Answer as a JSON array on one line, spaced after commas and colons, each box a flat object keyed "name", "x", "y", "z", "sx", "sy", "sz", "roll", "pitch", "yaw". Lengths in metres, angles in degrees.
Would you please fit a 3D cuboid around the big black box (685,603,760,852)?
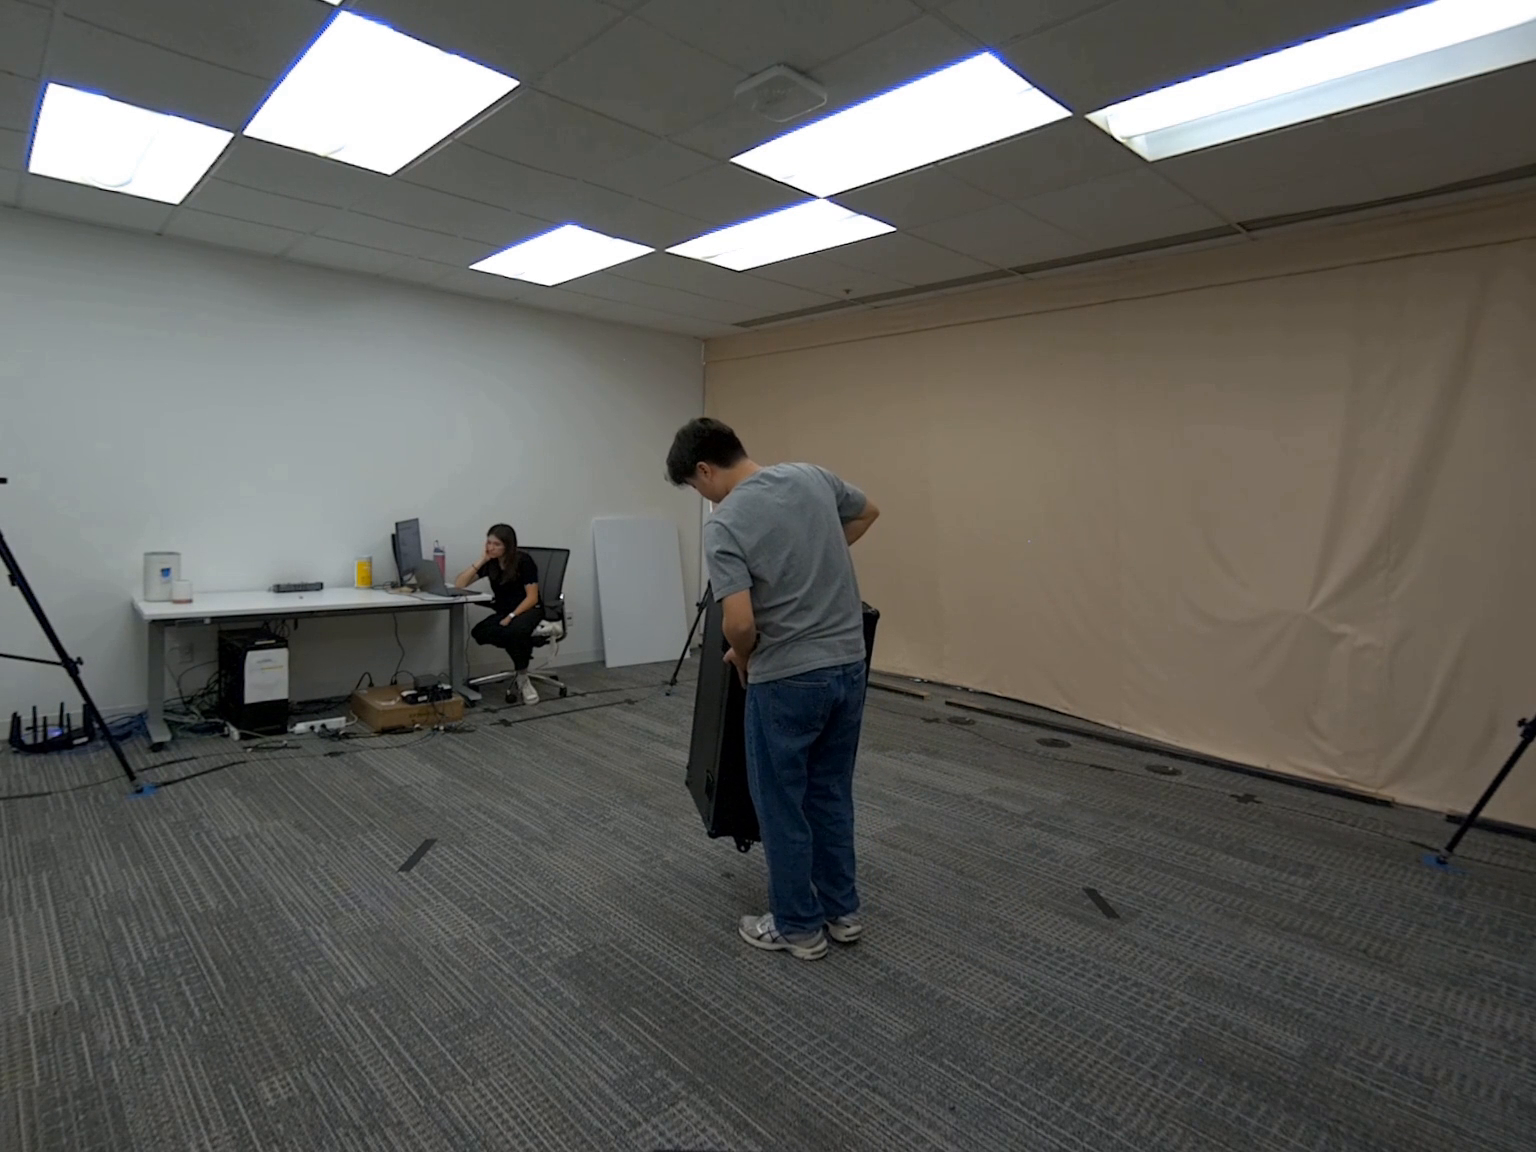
[{"name": "big black box", "x": 0.033, "y": 0.411, "z": 2.894, "sx": 0.514, "sy": 0.854, "sz": 0.405, "roll": 2, "pitch": 13, "yaw": -18}]
